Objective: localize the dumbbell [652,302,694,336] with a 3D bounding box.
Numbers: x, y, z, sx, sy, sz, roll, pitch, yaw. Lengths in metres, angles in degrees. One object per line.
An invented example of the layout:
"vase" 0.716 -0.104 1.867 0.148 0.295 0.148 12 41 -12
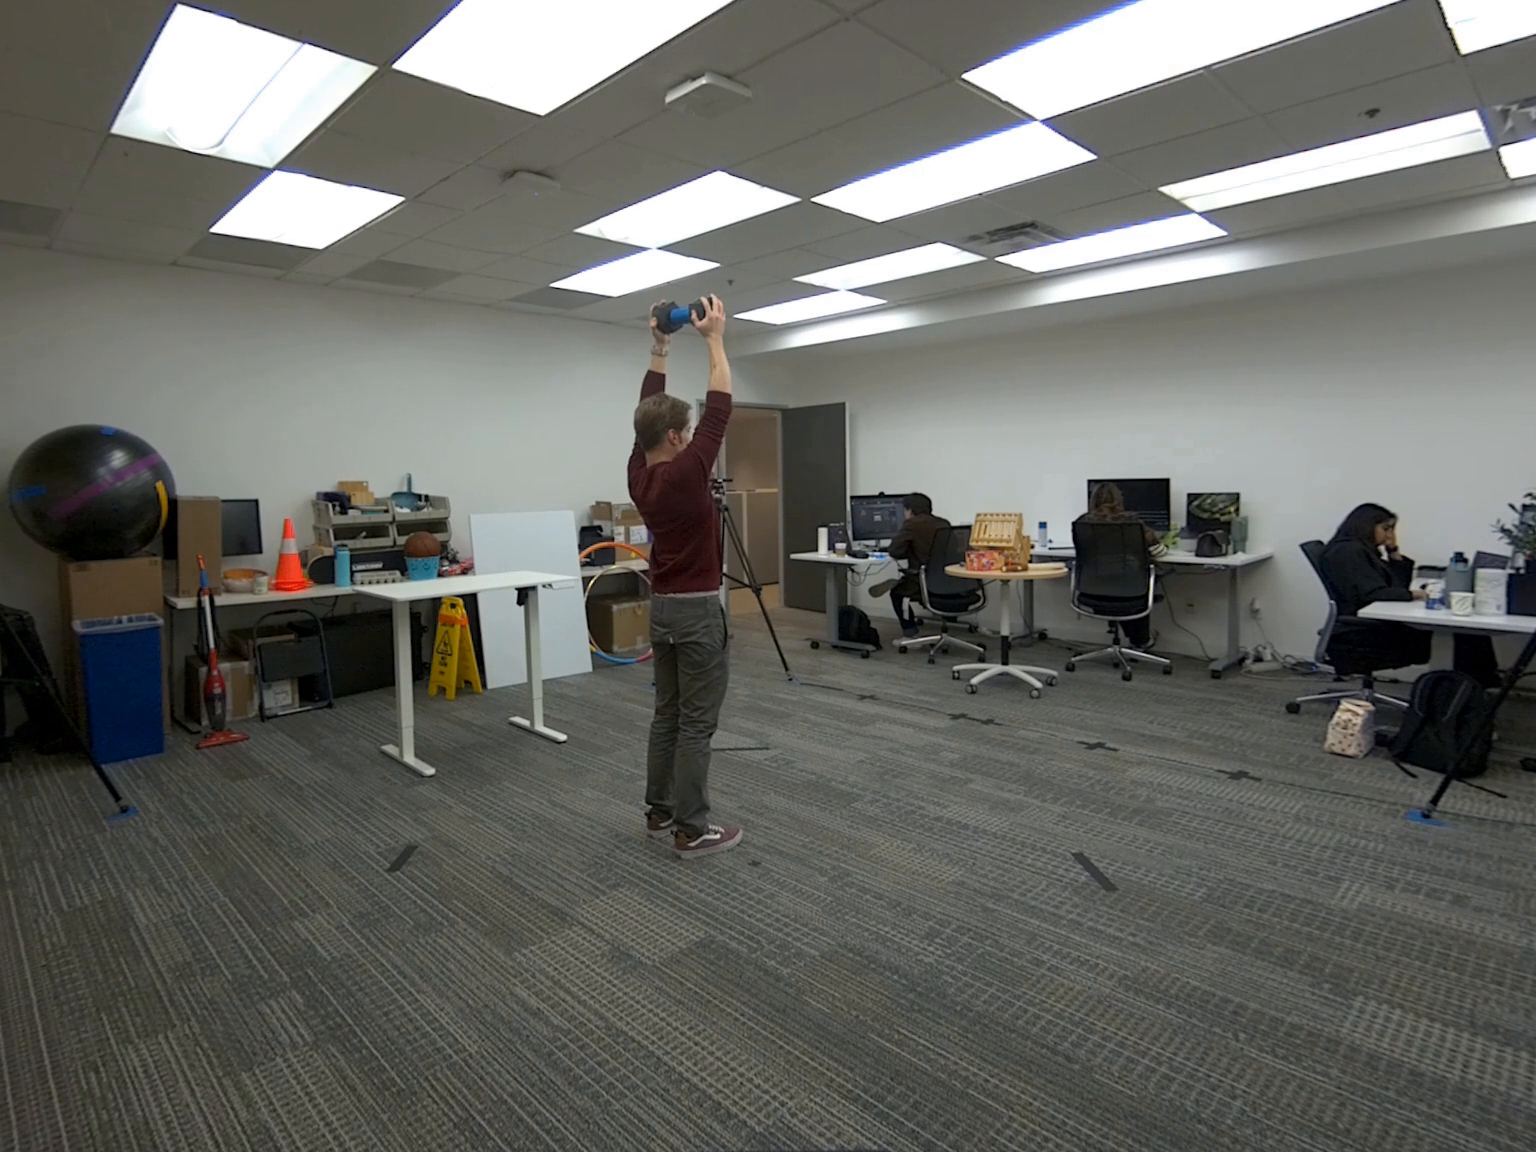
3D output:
"dumbbell" -0.306 -0.978 3.233 0.106 0.122 0.304 -6 13 -42
